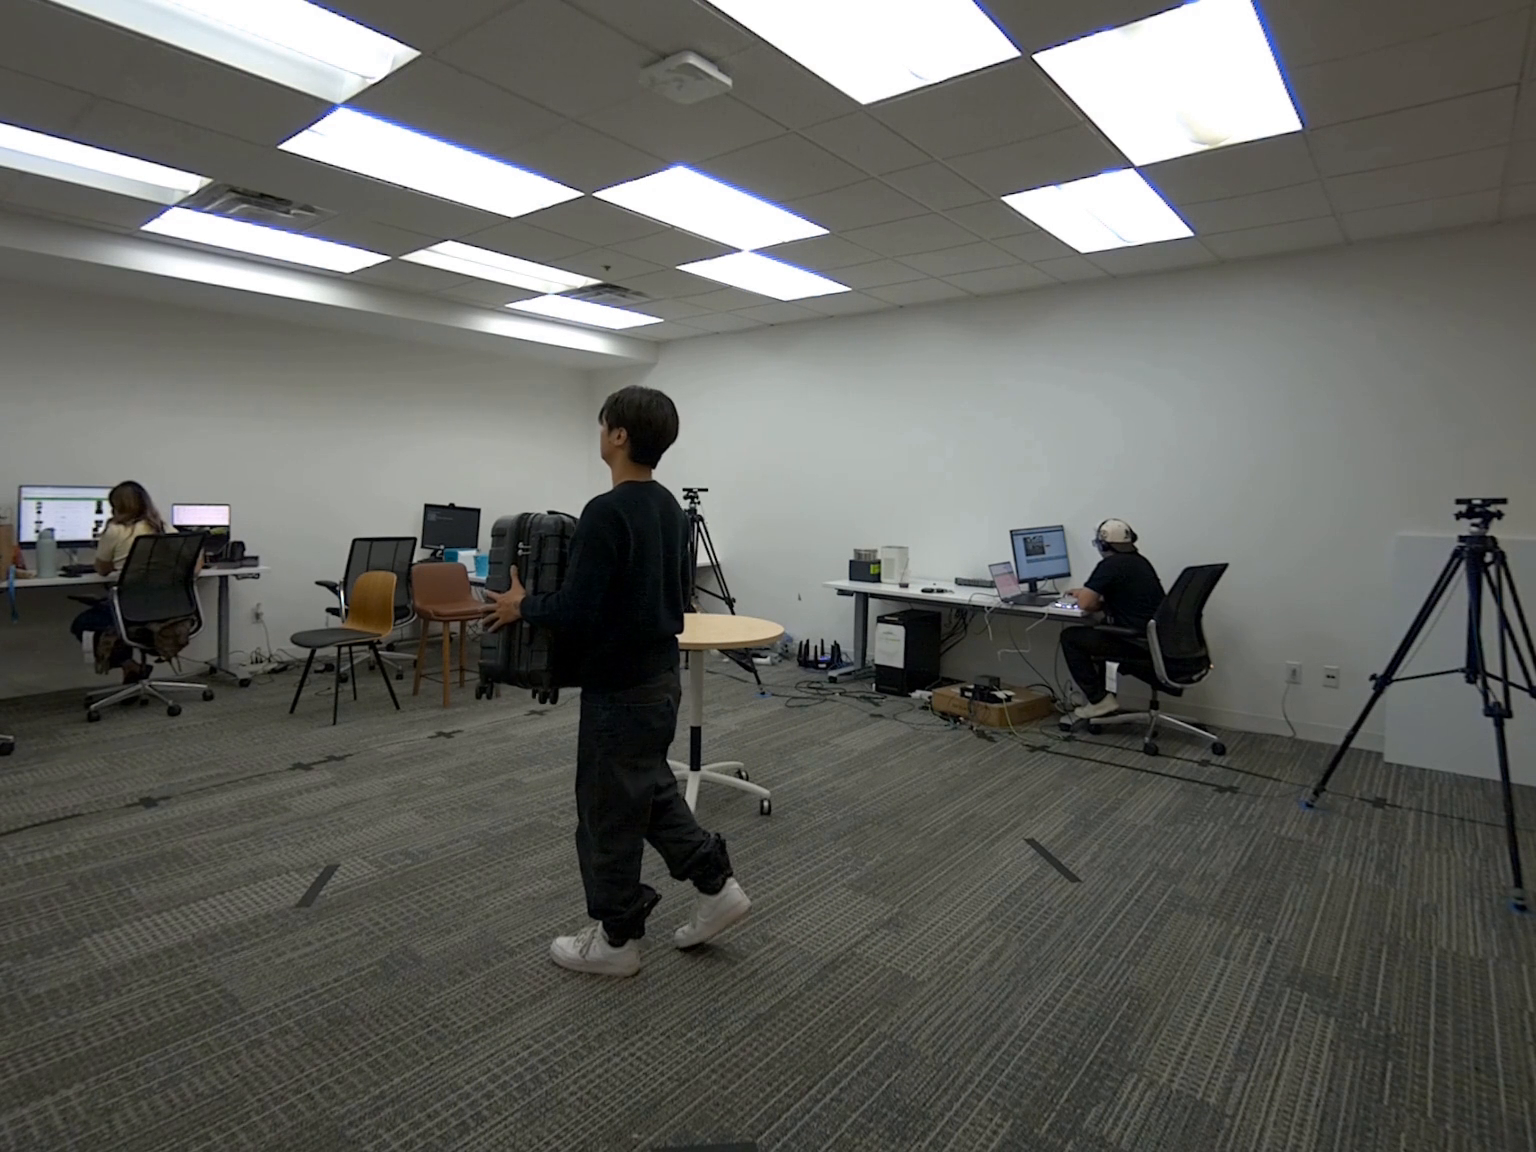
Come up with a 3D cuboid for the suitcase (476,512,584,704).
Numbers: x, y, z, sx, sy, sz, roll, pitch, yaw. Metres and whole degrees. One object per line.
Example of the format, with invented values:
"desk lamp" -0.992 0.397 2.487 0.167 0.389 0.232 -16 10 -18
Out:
"suitcase" -0.667 0.089 2.546 0.253 0.553 0.365 -1 -8 19
